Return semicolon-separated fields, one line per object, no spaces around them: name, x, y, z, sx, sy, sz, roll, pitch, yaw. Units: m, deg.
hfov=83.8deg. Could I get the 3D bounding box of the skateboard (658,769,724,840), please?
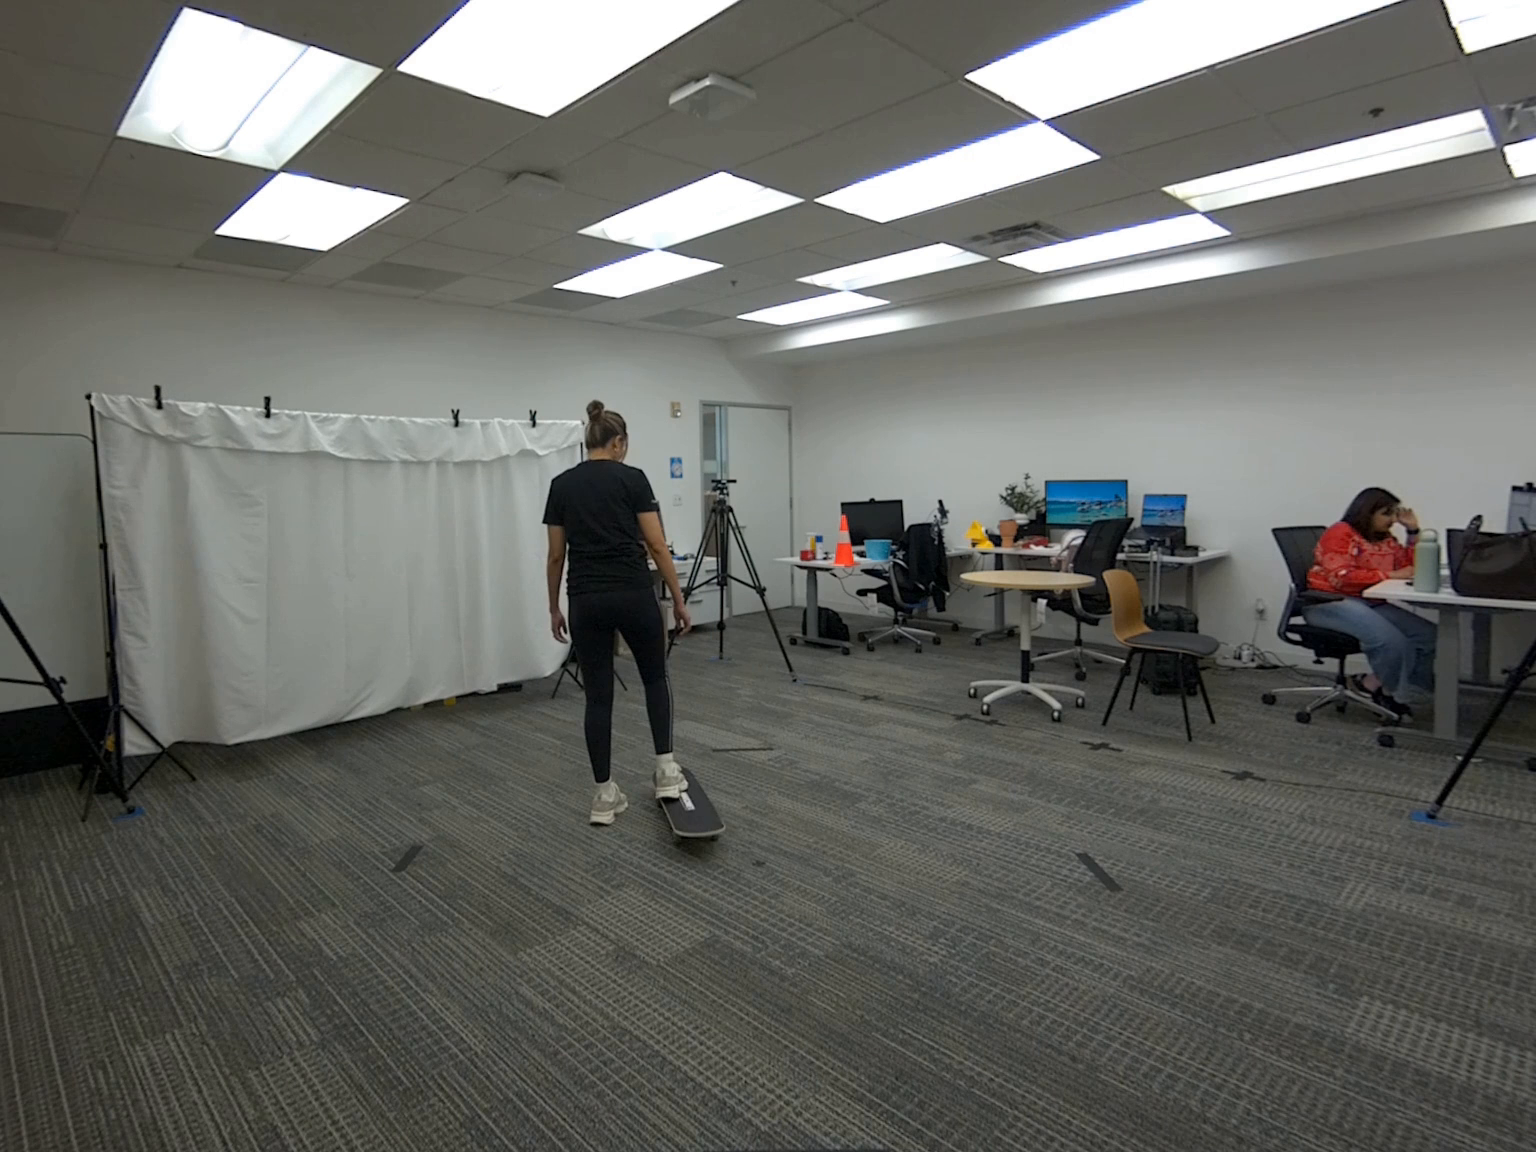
skateboard;-0.335;0.955;3.496;0.191;0.110;0.799;-4;6;-15
